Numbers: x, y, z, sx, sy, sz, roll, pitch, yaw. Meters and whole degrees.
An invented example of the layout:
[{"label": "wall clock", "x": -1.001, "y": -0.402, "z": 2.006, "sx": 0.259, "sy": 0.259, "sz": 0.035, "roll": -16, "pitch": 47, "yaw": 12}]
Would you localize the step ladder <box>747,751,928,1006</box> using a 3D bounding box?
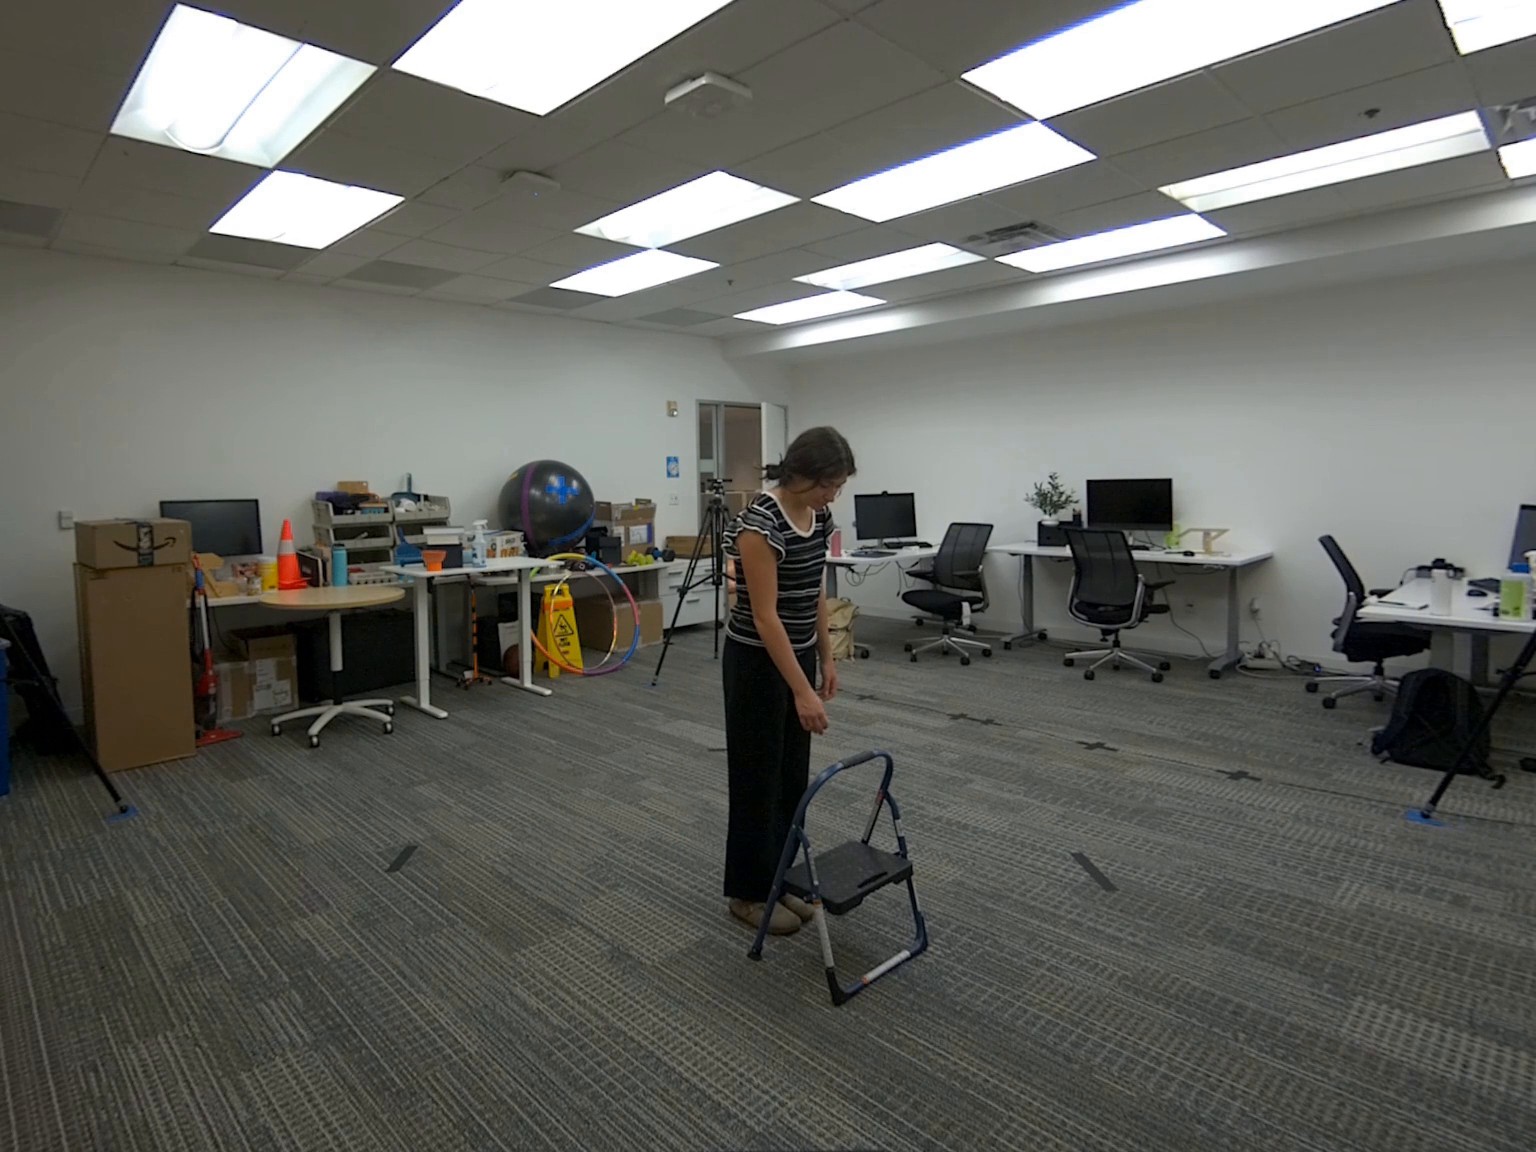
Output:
[{"label": "step ladder", "x": 0.210, "y": 0.811, "z": 2.493, "sx": 0.419, "sy": 0.604, "sz": 0.360, "roll": -6, "pitch": 6, "yaw": -44}]
